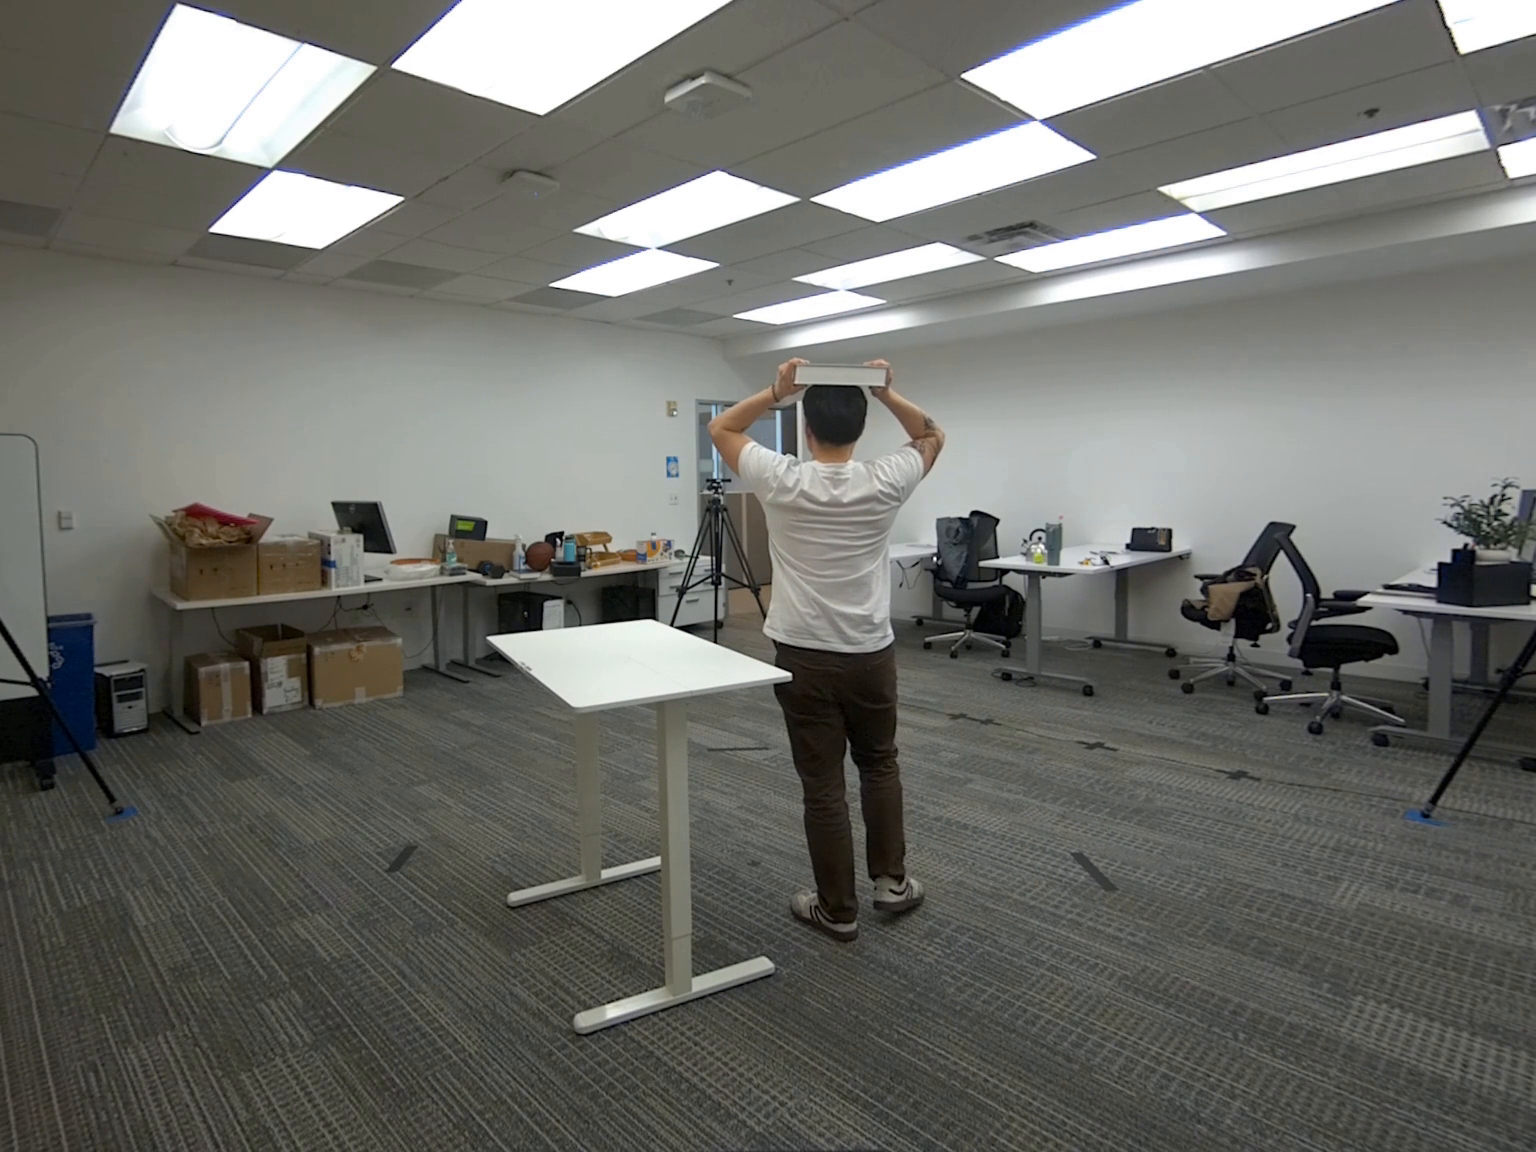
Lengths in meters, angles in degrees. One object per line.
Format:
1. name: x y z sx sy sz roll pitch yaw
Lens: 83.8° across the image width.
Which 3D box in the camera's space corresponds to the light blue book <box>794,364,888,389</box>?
1. light blue book: 0.217 -0.598 2.543 0.260 0.058 0.194 2 13 -5
